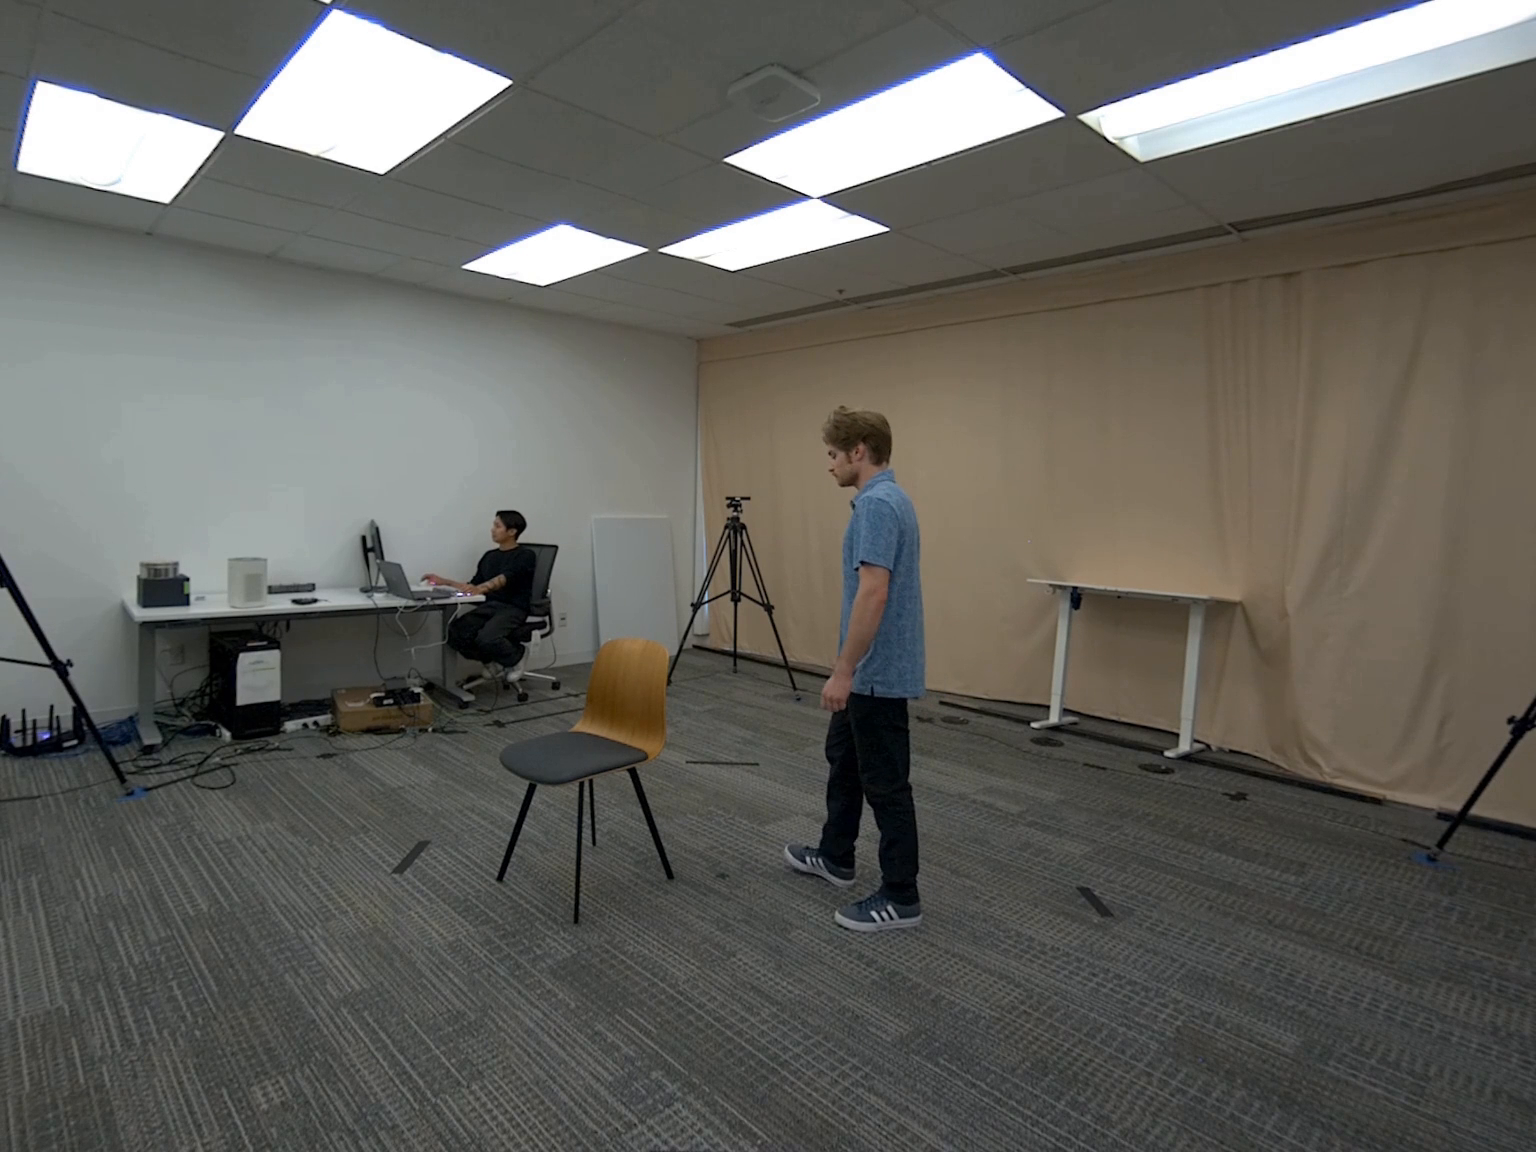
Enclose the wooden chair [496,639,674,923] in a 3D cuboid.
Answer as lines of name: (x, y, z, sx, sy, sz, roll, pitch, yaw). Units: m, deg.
wooden chair: (-0.654, 0.674, 3.006, 0.490, 0.877, 0.510, 4, 0, 39)
